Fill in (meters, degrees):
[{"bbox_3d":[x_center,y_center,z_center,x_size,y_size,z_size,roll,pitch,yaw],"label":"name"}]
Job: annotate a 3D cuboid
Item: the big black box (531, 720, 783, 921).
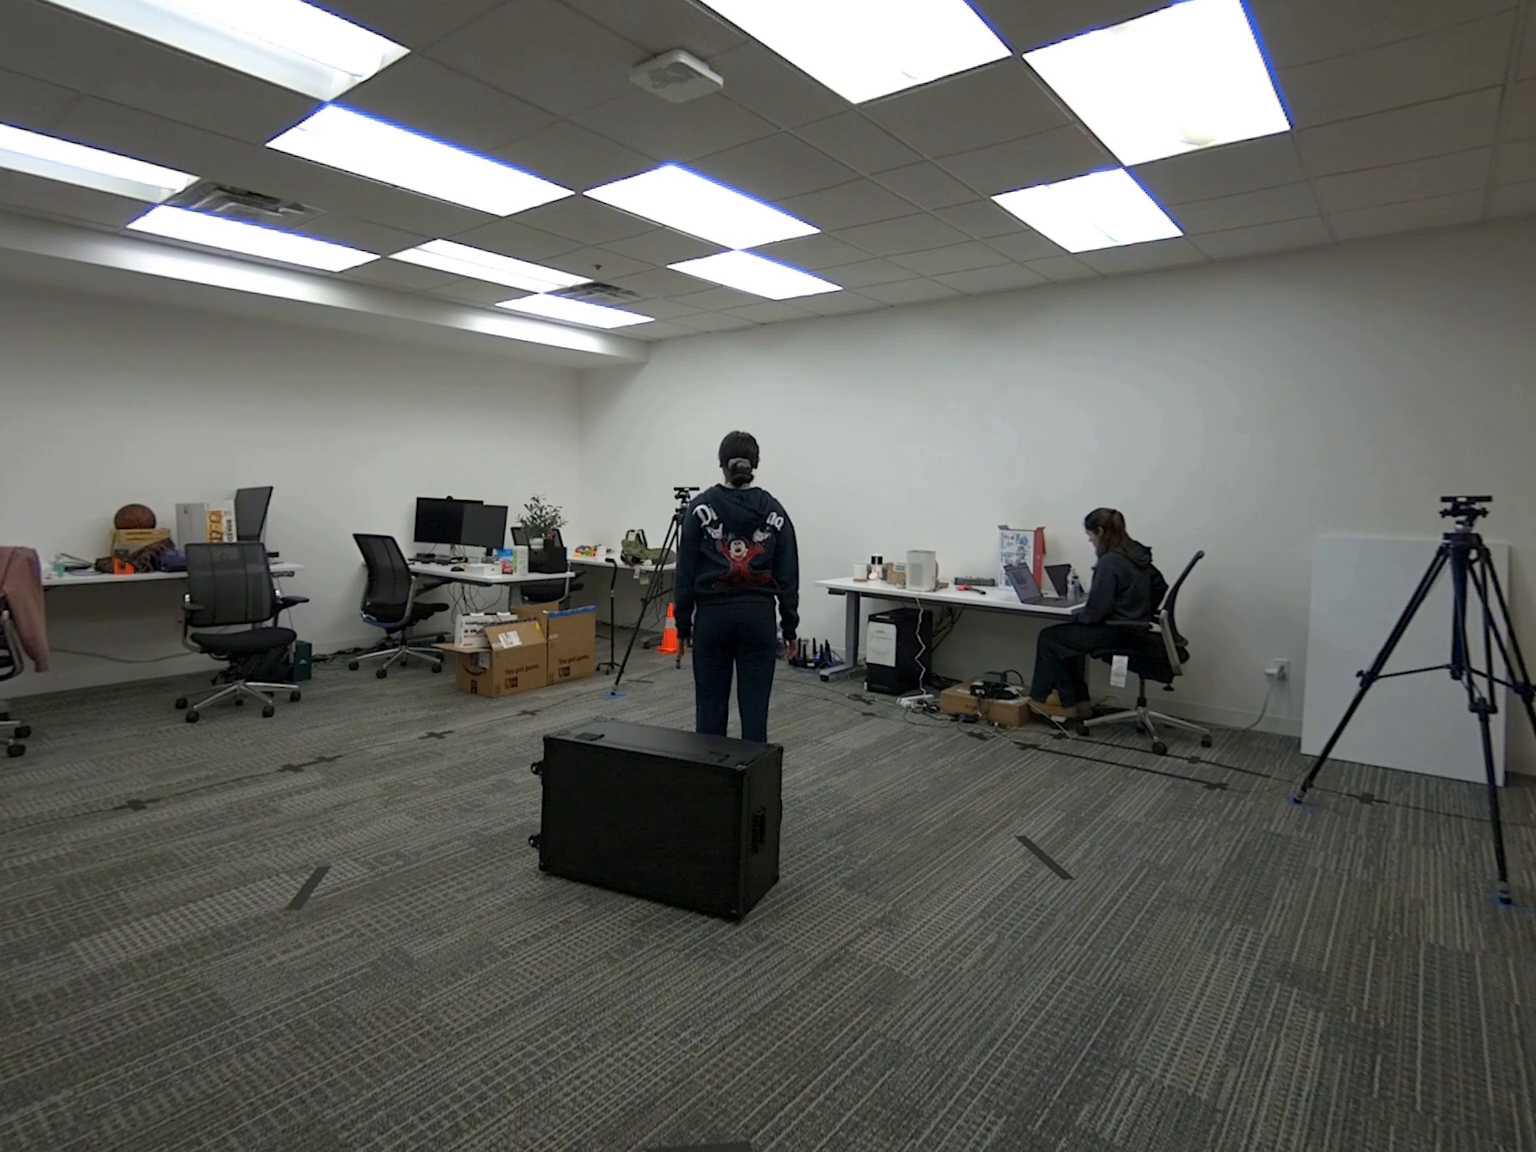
[{"bbox_3d":[-0.417,0.813,3.047,0.883,0.521,0.387,3,2,24],"label":"big black box"}]
